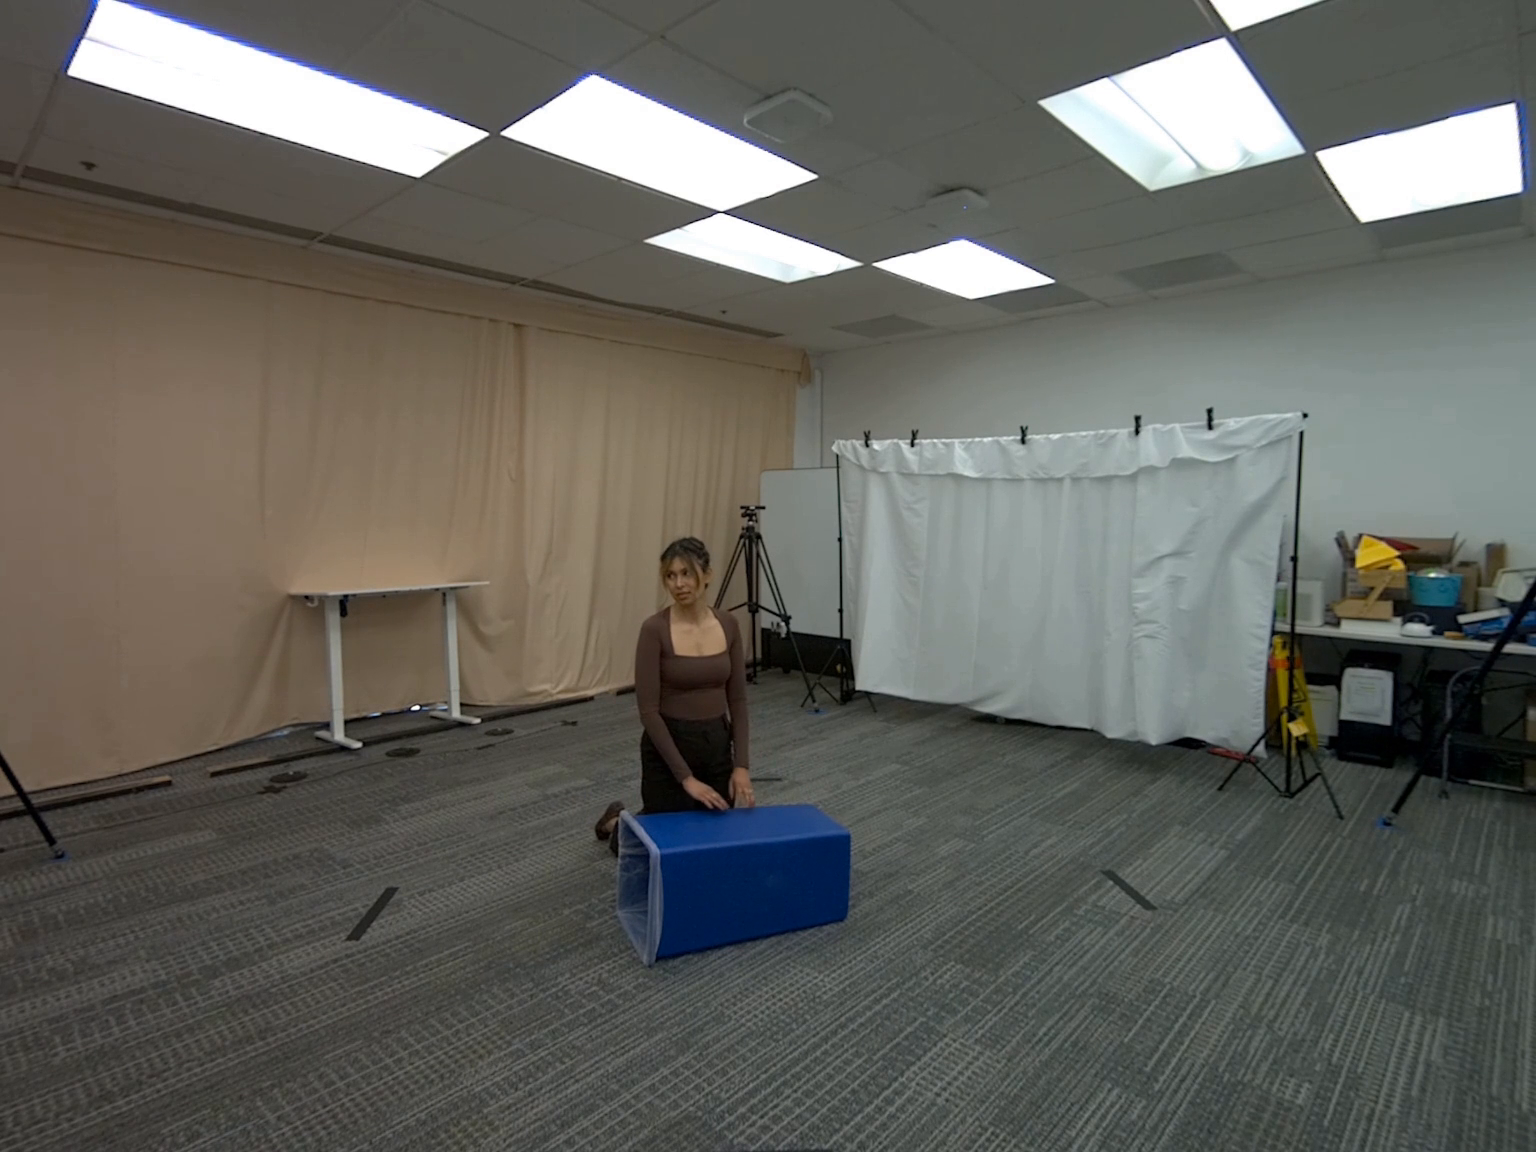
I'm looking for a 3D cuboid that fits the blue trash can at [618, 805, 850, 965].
[{"bbox_3d":[-0.107,0.985,2.815,0.698,0.377,0.383,0,2,-22],"label":"blue trash can"}]
